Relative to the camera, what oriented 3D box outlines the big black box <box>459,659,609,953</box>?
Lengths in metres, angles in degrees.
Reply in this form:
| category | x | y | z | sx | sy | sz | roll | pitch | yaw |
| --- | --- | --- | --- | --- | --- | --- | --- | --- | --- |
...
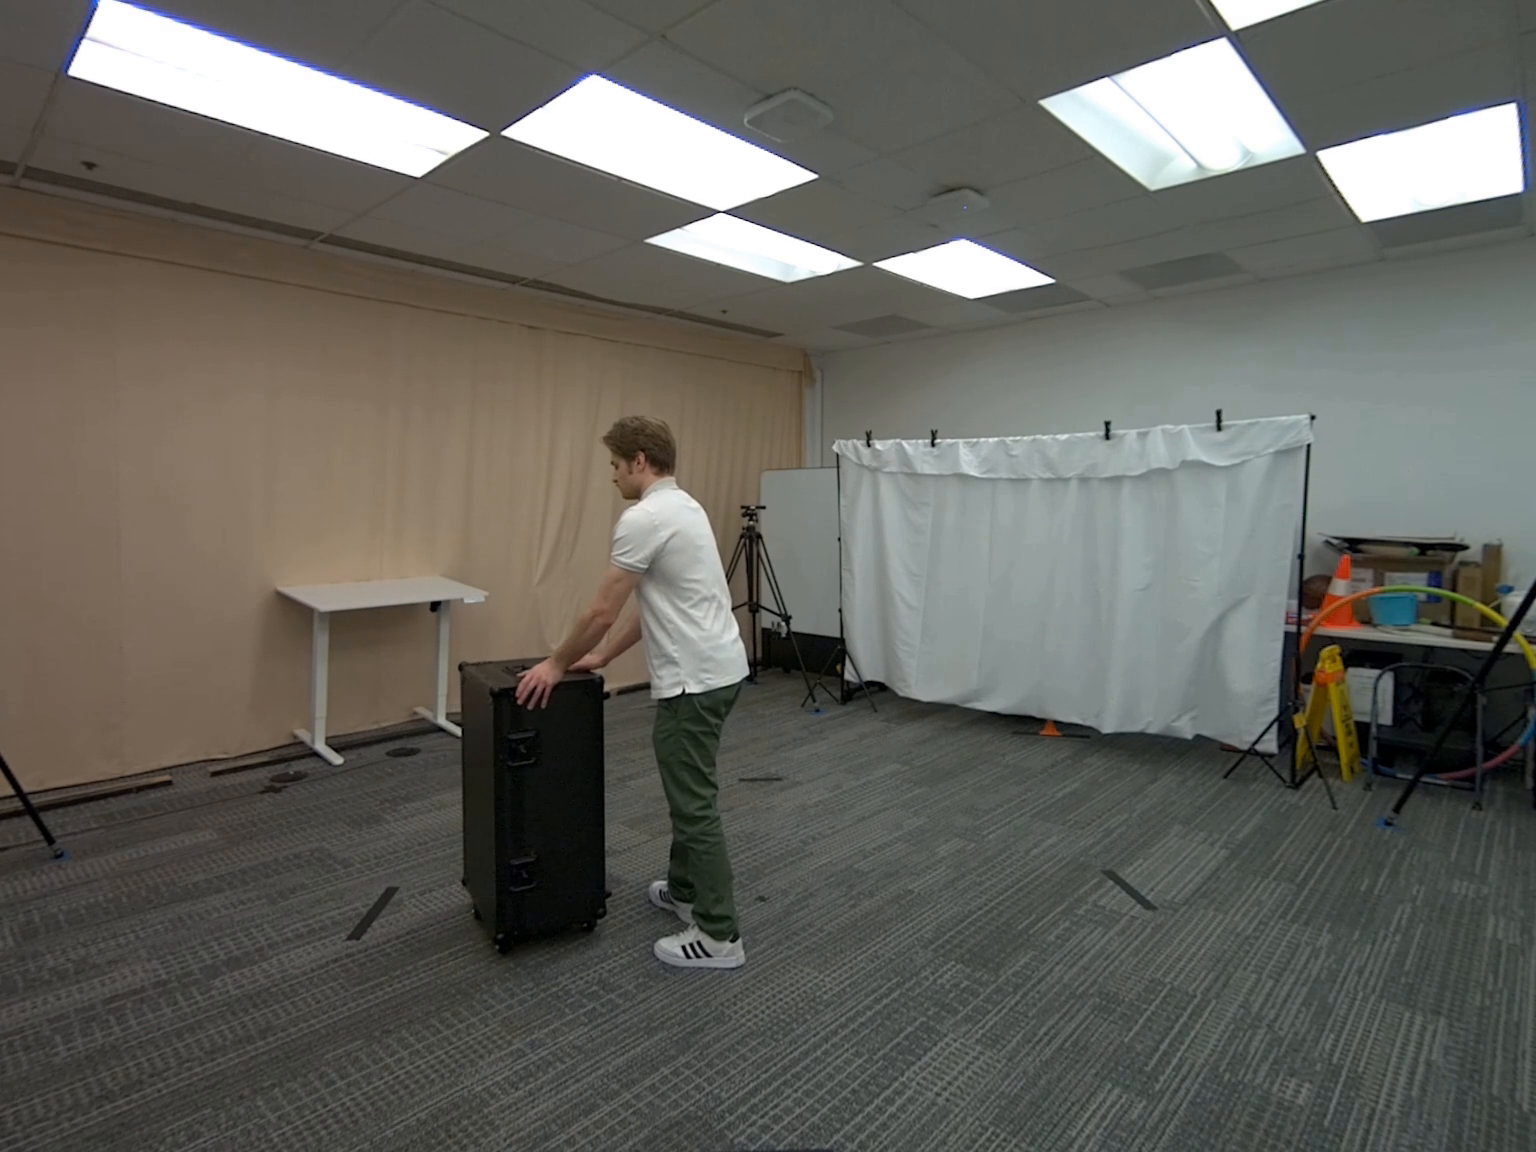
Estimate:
| category | x | y | z | sx | sy | sz | roll | pitch | yaw |
| --- | --- | --- | --- | --- | --- | --- | --- | --- | --- |
| big black box | -0.798 | 0.741 | 2.830 | 0.375 | 0.867 | 0.539 | -1 | 3 | -30 |
